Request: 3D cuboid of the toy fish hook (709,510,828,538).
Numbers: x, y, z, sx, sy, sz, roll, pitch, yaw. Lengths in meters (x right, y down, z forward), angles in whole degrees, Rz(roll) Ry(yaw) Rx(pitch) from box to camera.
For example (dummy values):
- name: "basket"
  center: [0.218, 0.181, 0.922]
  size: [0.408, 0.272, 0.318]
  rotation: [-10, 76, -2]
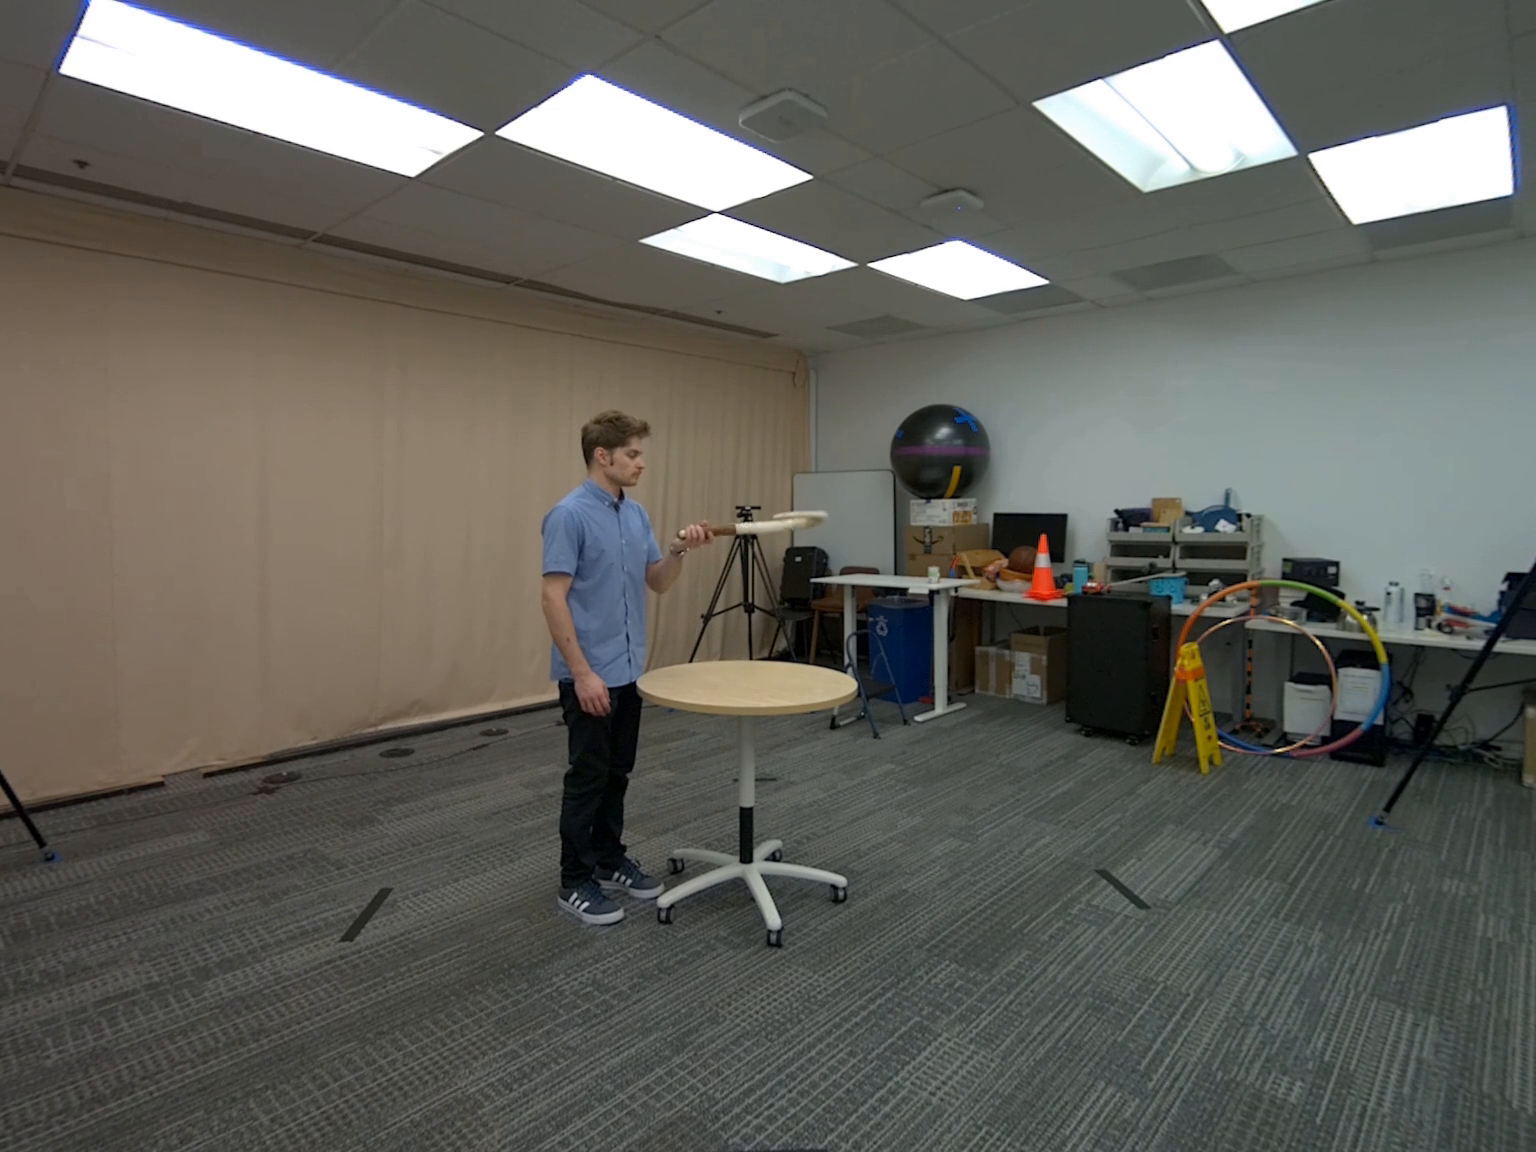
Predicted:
- name: "toy fish hook"
  center: [-0.074, -0.163, 2.836]
  size: [0.507, 0.049, 0.222]
  rotation: [-8, -15, 0]
